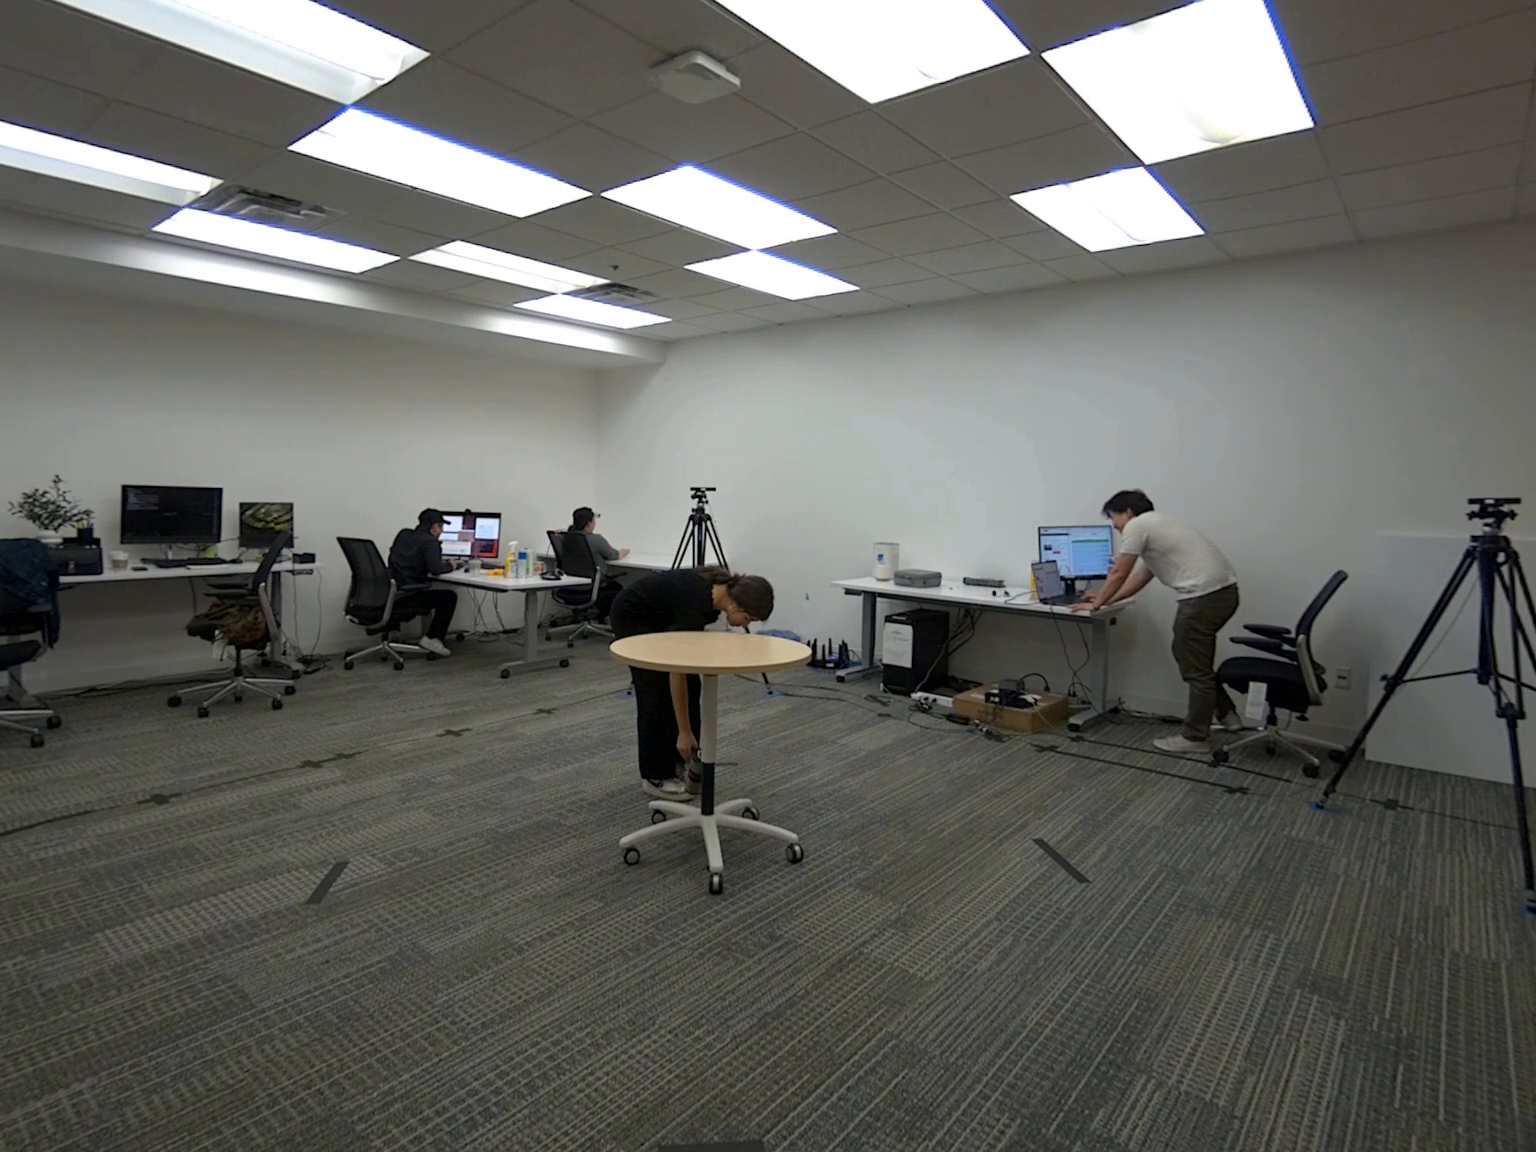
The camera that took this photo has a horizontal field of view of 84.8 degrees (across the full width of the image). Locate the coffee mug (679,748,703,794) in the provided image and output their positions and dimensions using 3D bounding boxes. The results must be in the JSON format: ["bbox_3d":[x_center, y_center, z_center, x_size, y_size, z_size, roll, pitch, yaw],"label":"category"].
[{"bbox_3d":[-0.325,0.824,3.610,0.086,0.199,0.127,-6,34,-33],"label":"coffee mug"}]
